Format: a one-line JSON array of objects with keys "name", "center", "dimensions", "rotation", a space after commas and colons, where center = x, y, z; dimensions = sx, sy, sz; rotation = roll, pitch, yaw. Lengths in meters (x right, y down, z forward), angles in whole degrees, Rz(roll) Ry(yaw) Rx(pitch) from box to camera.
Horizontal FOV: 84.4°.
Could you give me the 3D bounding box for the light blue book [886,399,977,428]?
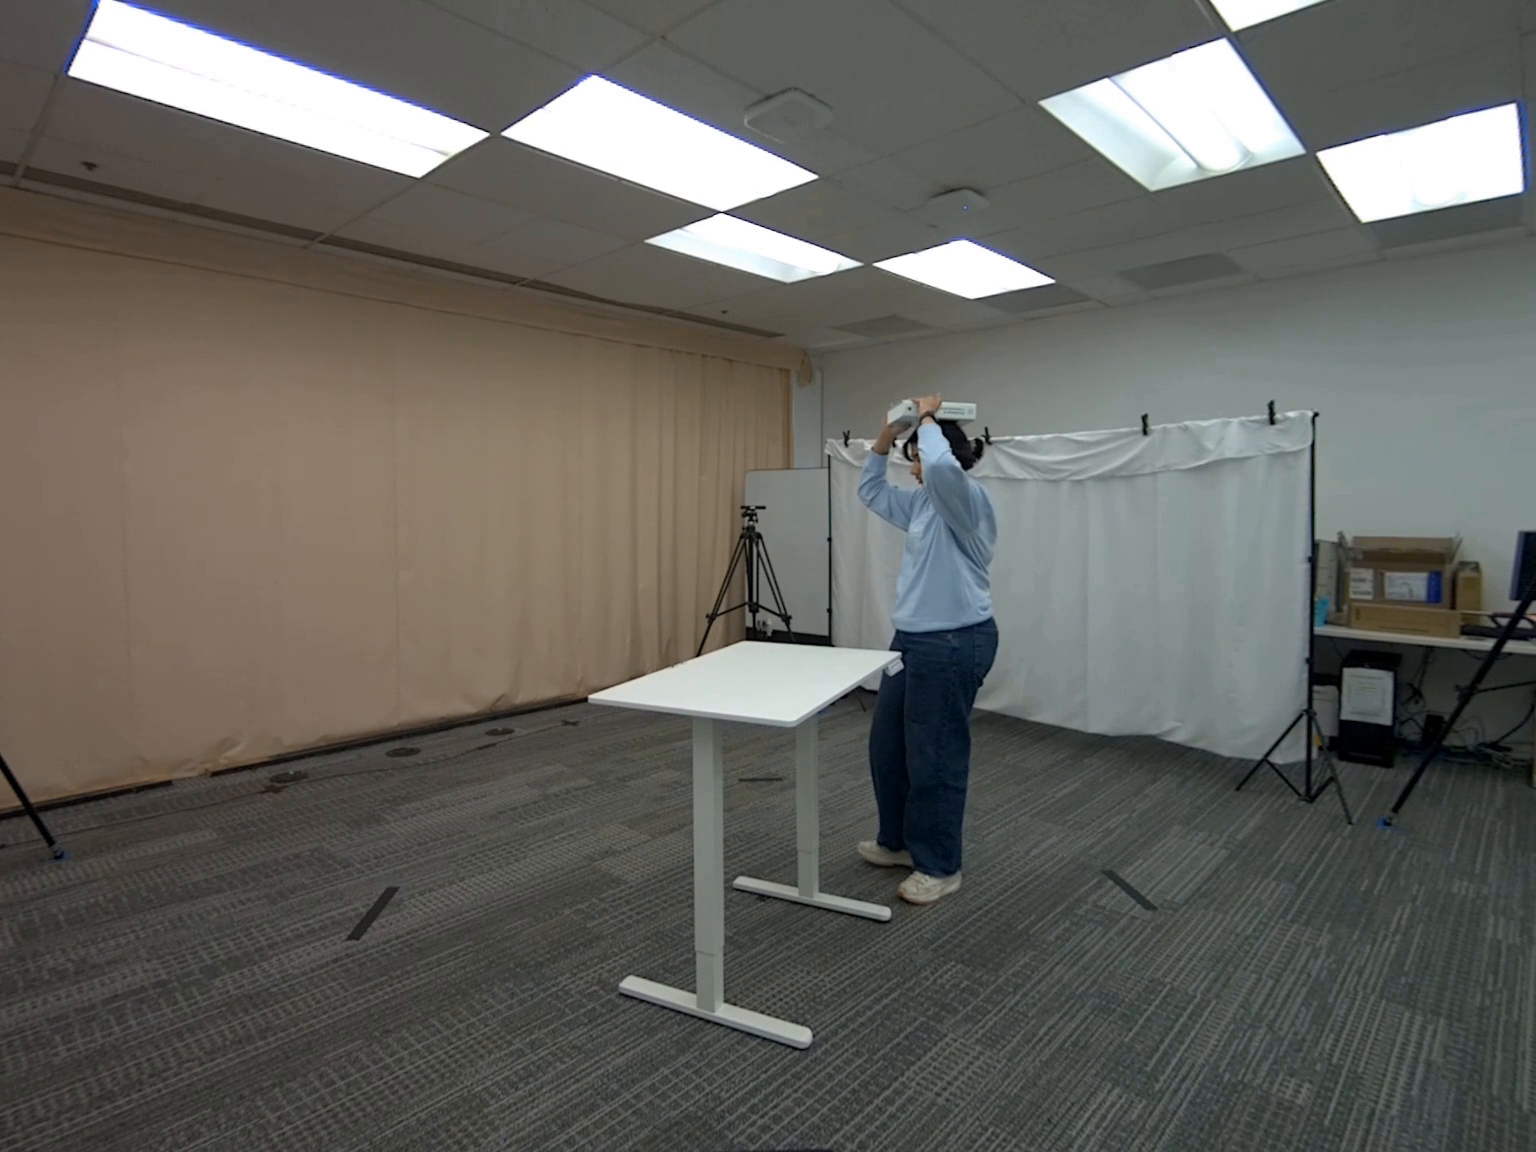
[{"name": "light blue book", "center": [0.574, -0.573, 3.003], "dimensions": [0.259, 0.059, 0.192], "rotation": [1, -2, -8]}]
